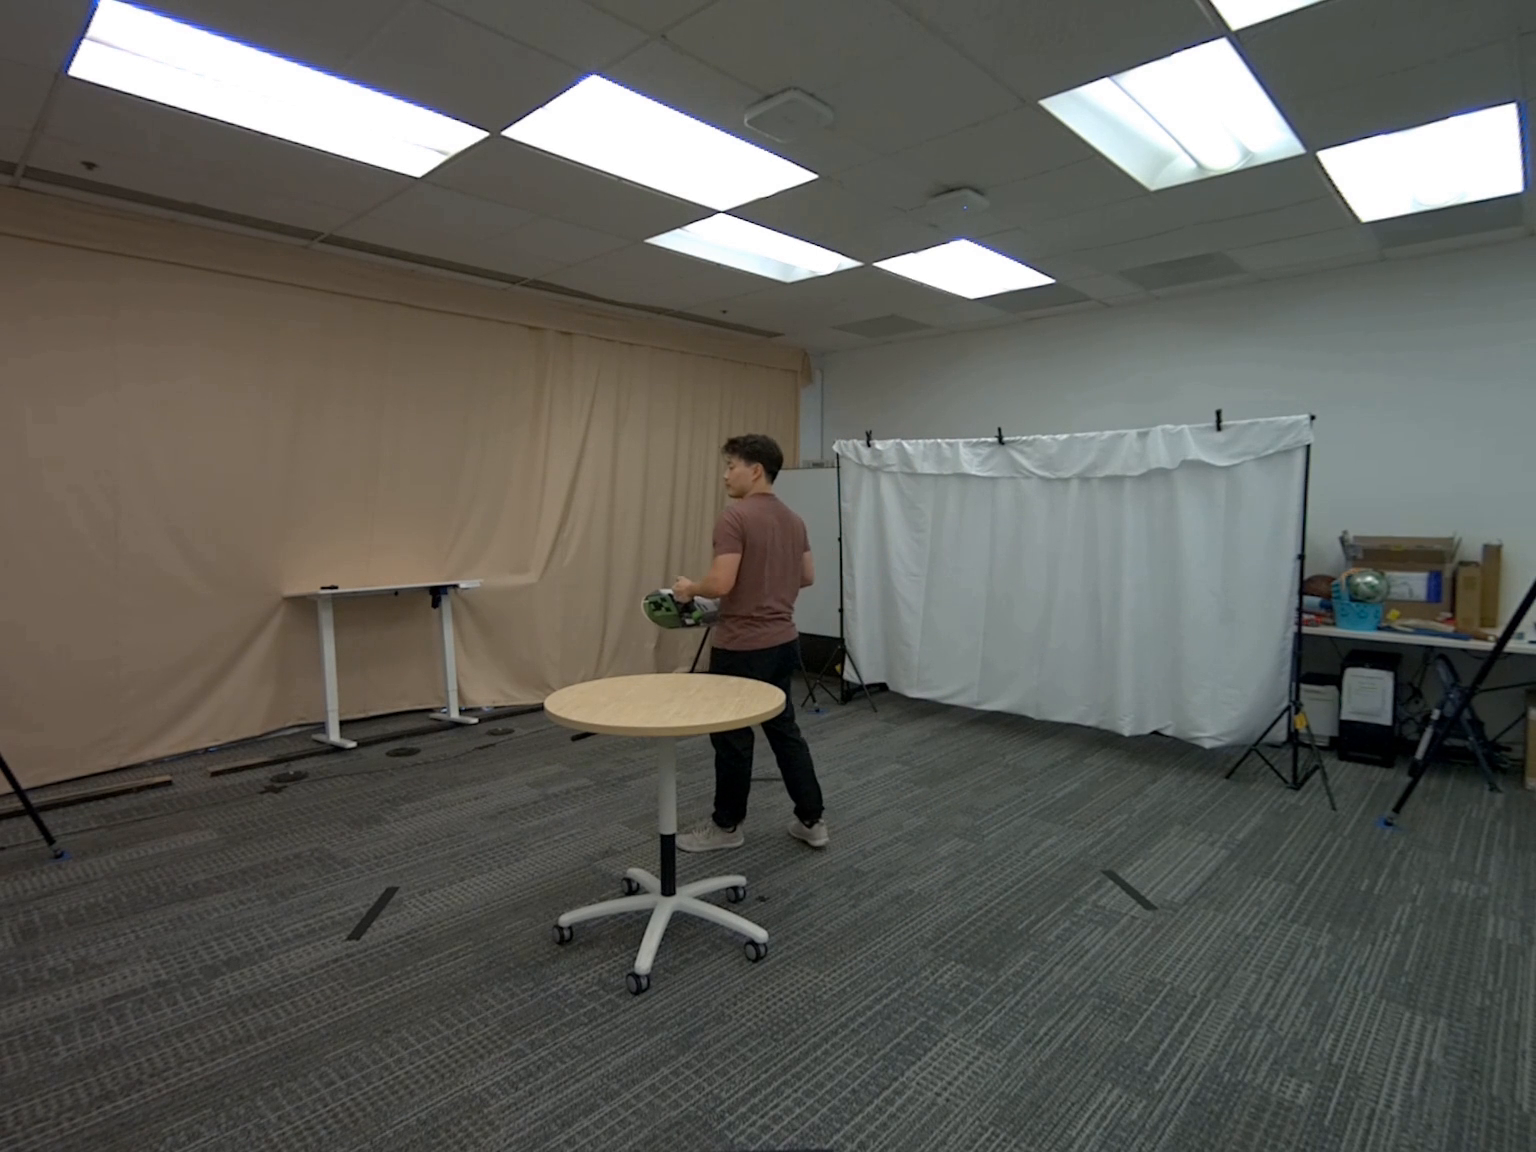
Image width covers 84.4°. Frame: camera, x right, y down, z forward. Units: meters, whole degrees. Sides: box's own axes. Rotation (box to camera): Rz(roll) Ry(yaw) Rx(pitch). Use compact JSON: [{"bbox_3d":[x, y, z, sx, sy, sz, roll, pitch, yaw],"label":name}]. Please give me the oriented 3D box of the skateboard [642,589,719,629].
[{"bbox_3d":[-0.209,0.111,3.576,0.761,0.198,0.111,-2,-38,-48],"label":"skateboard"}]
